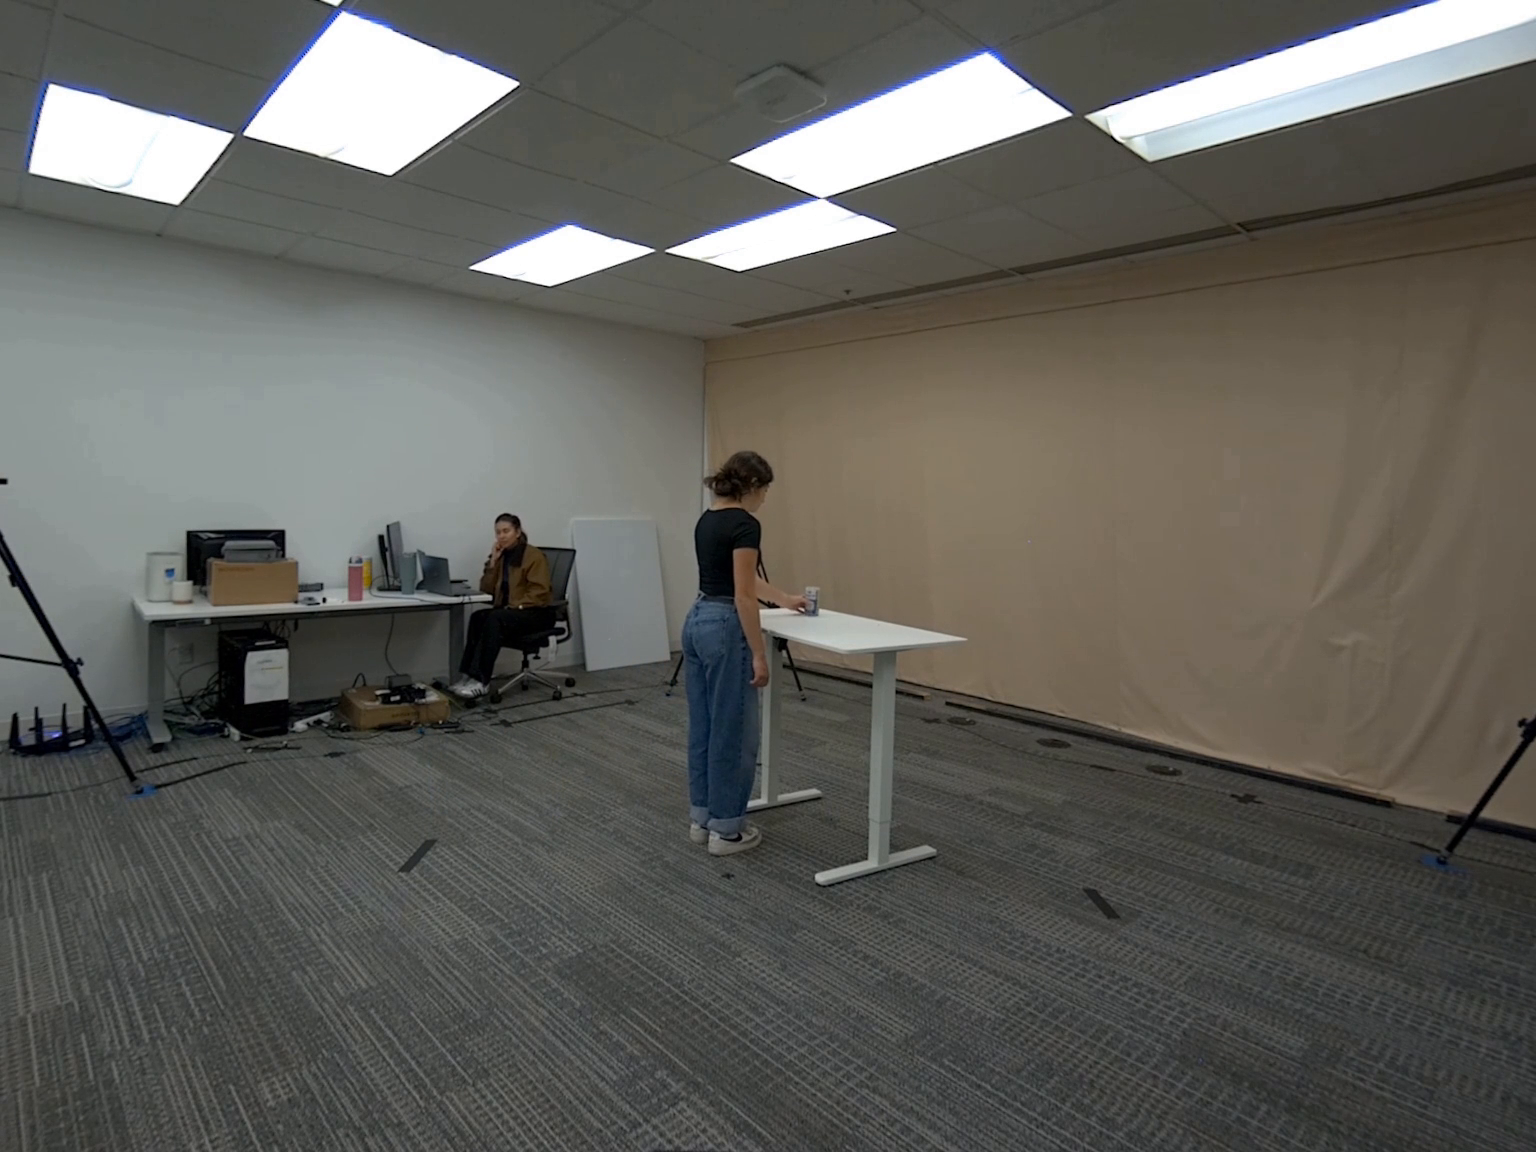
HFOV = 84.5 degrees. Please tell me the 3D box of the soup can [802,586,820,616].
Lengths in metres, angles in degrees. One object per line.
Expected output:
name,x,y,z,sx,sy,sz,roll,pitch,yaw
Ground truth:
soup can,0.183,0.106,3.751,0.067,0.121,0.067,2,4,-2
